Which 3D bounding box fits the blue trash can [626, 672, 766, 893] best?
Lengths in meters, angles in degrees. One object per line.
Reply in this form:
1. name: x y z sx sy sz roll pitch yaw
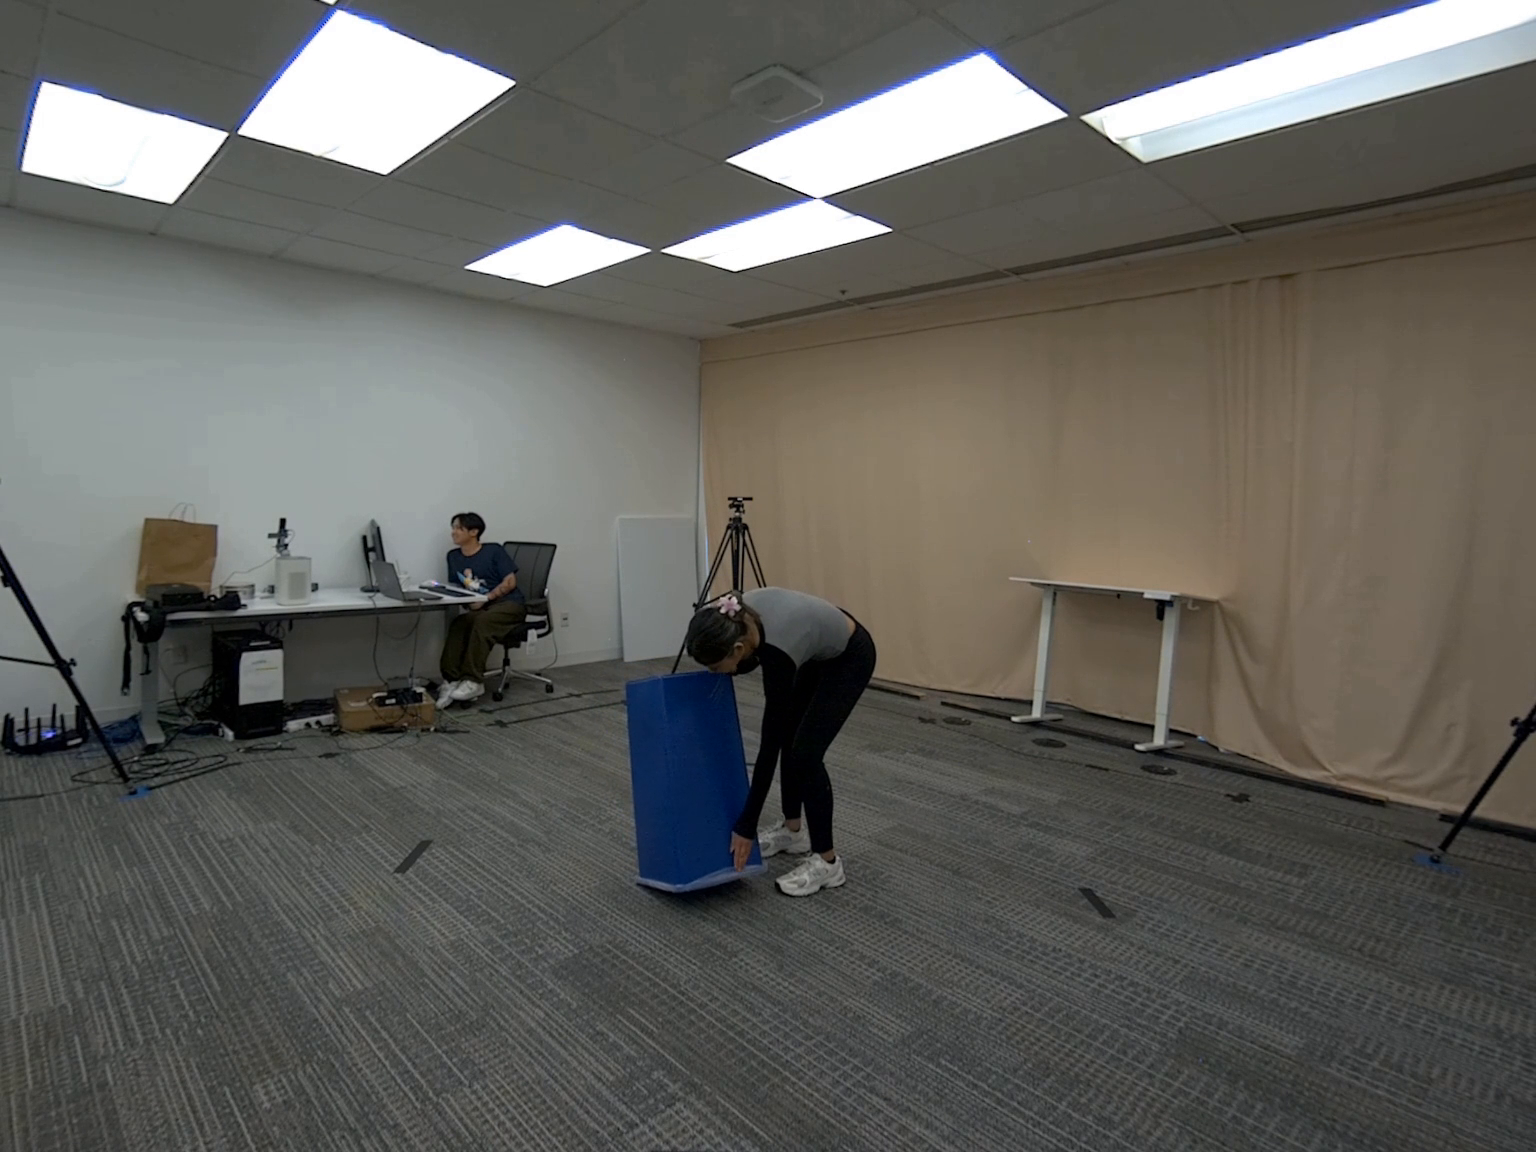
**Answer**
1. blue trash can: -0.299 0.727 3.050 0.370 0.720 0.379 -2 -12 -34
